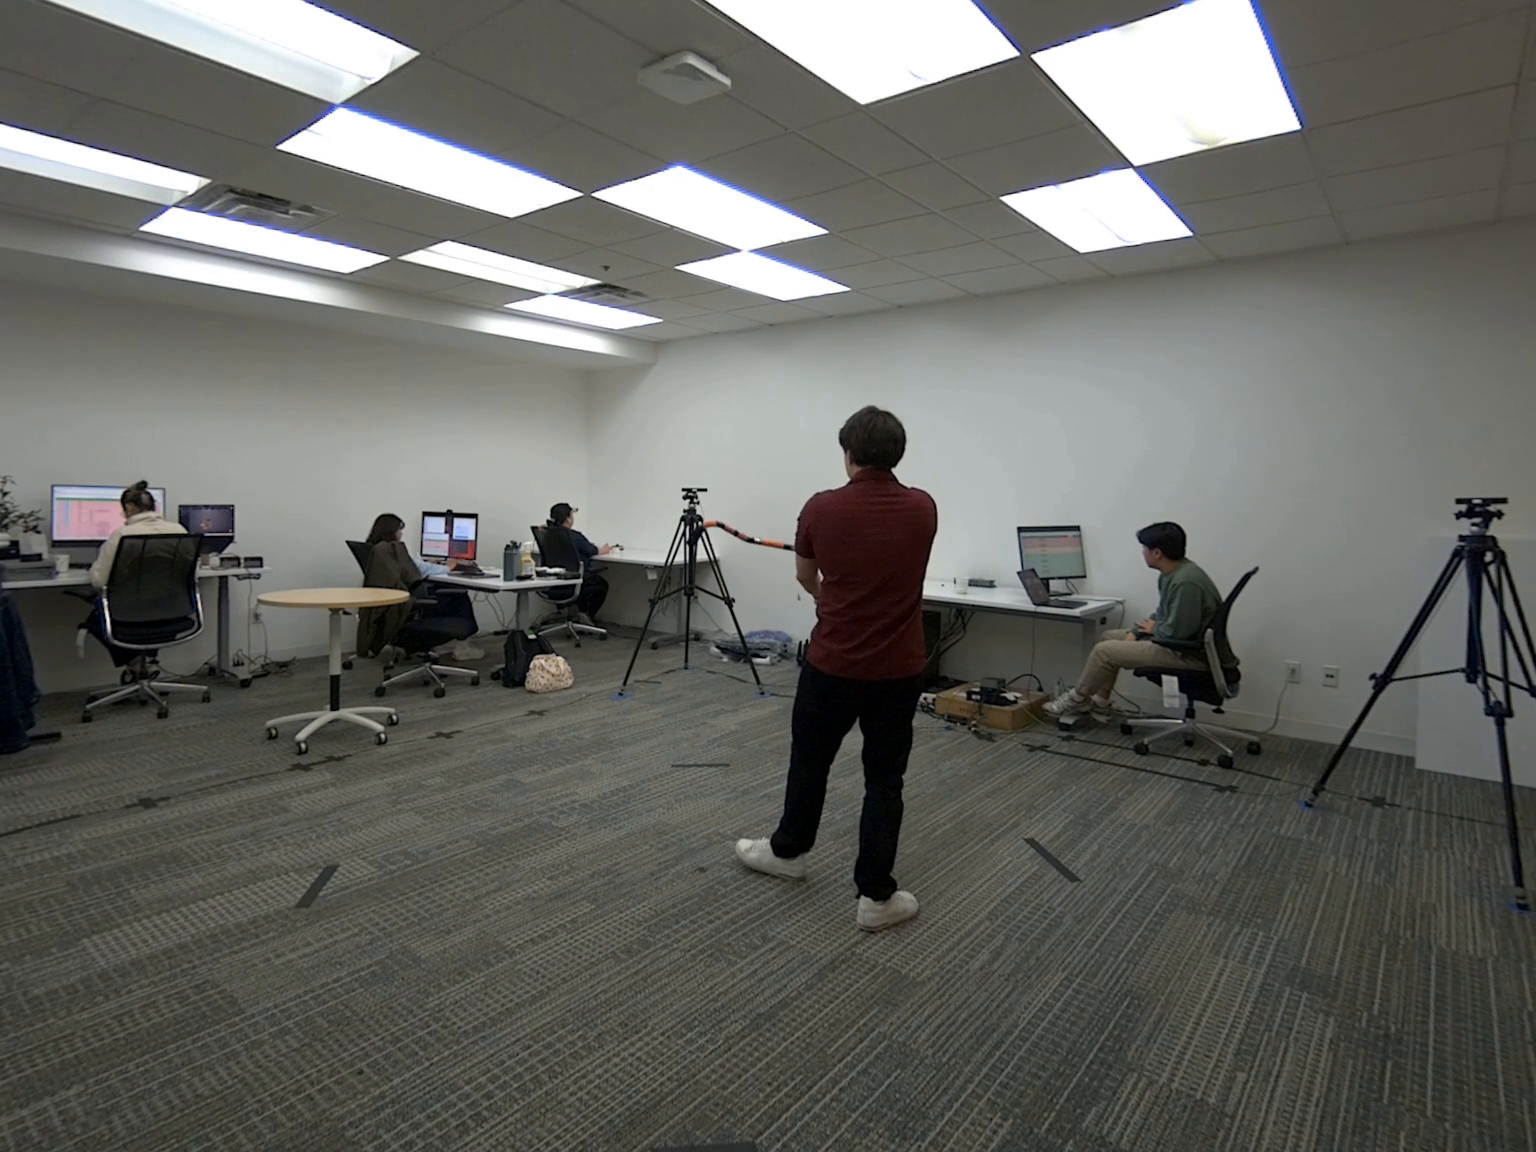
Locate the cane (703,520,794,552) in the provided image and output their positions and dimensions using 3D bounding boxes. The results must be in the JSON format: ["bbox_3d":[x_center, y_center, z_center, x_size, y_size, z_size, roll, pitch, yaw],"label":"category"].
[{"bbox_3d":[0.133,-0.085,3.280,0.890,0.156,0.205,11,-34,-16],"label":"cane"}]
